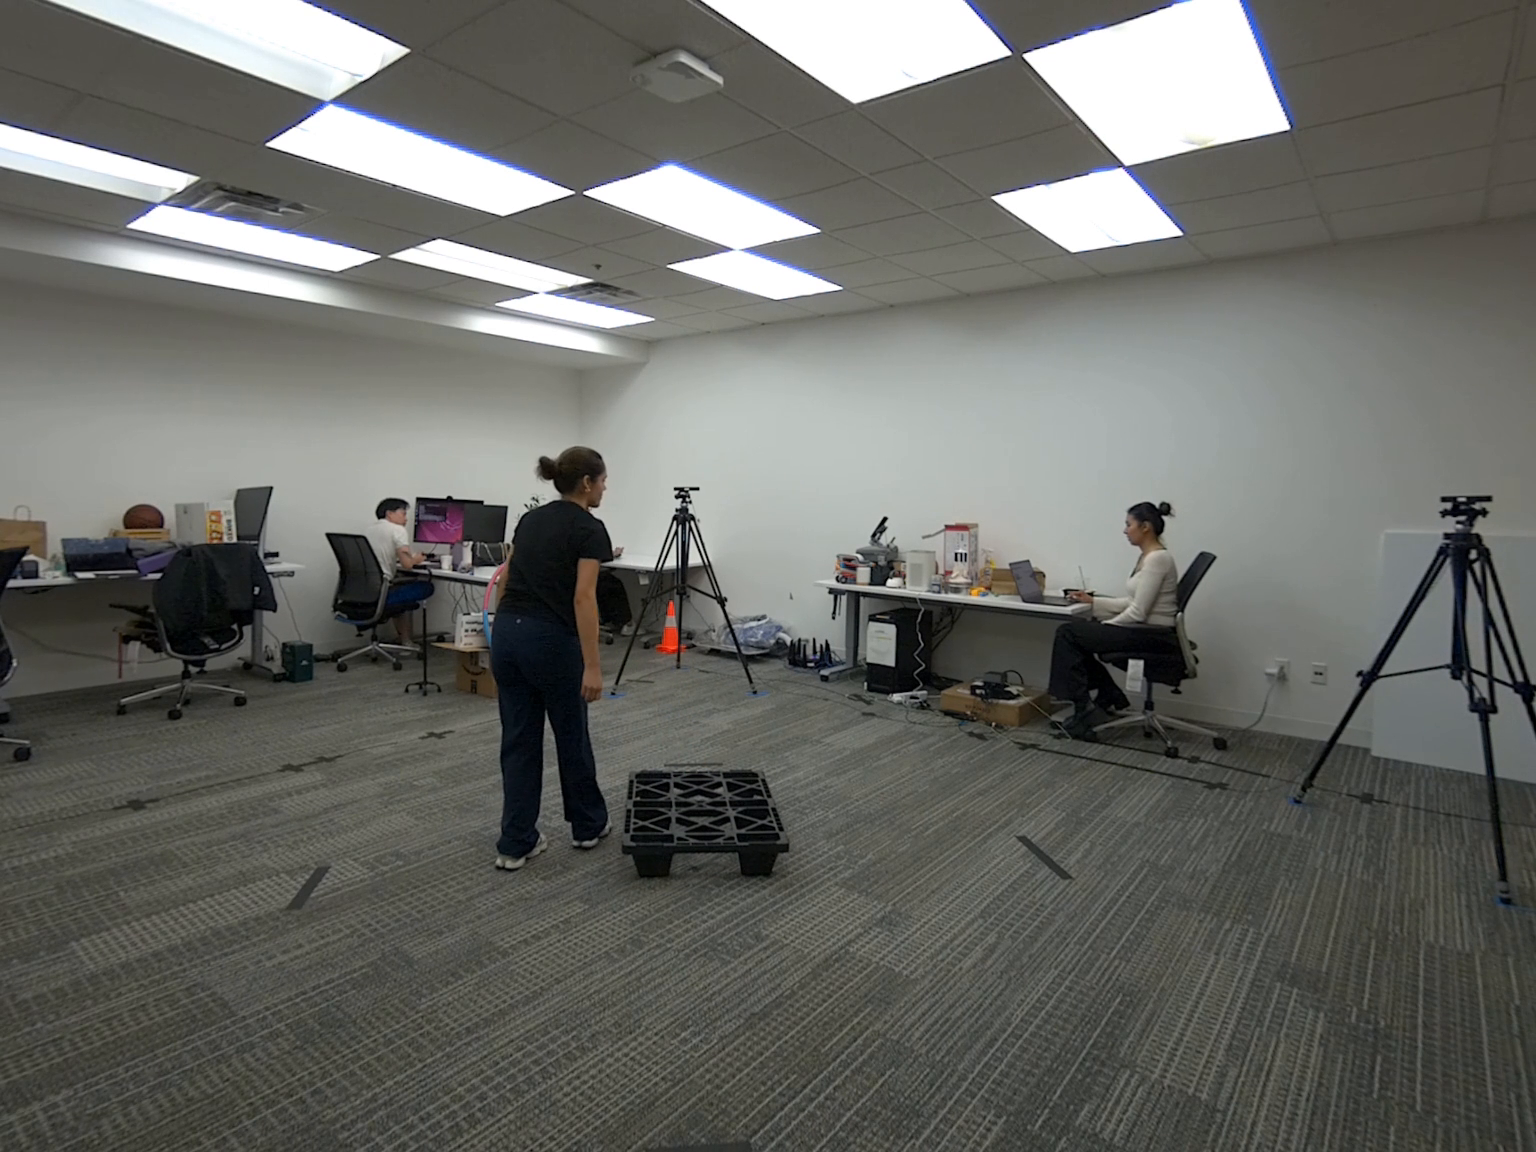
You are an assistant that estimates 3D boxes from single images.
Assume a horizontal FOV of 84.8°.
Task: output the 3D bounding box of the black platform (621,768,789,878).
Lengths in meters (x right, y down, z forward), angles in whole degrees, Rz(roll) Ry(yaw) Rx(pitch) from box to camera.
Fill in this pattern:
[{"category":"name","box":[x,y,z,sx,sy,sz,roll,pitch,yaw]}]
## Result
[{"category":"black platform","box":[-0.251,0.966,3.414,0.602,0.143,0.813,1,6,-5]}]
